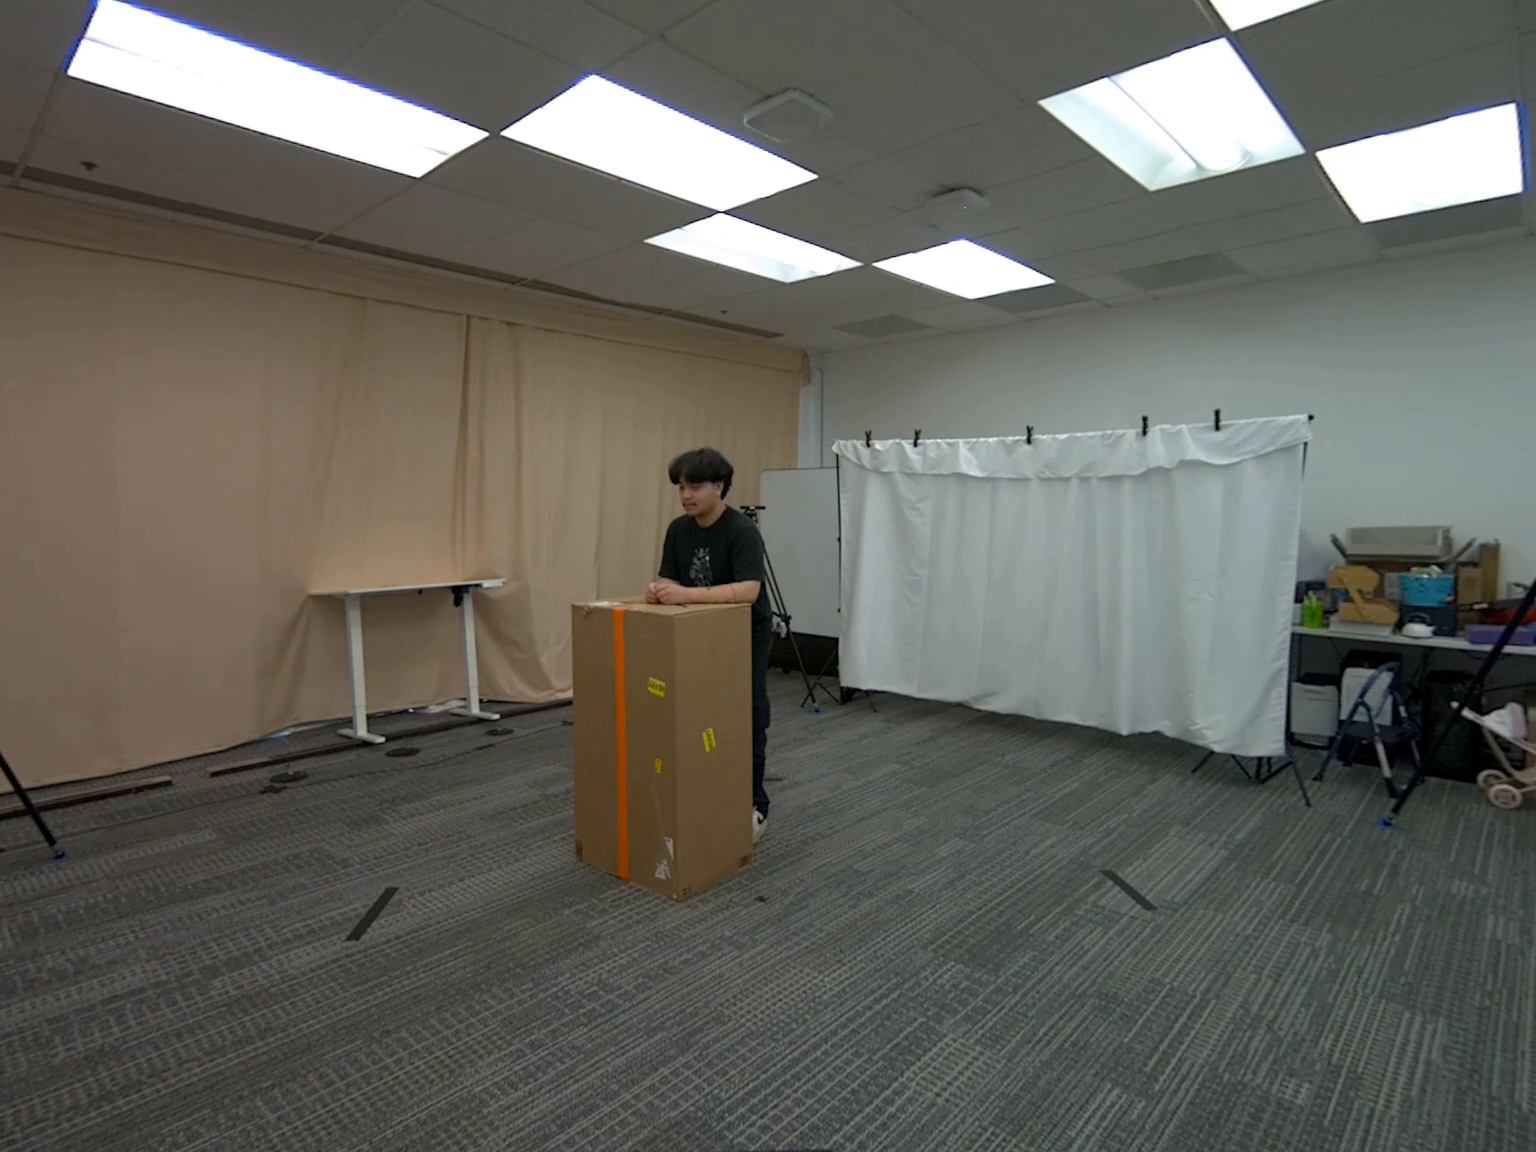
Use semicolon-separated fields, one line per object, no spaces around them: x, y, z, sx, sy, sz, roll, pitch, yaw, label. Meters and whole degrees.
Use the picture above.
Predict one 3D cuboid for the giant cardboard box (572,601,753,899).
-0.418;0.612;3.280;0.603;1.025;0.433;2;4;41;giant cardboard box
